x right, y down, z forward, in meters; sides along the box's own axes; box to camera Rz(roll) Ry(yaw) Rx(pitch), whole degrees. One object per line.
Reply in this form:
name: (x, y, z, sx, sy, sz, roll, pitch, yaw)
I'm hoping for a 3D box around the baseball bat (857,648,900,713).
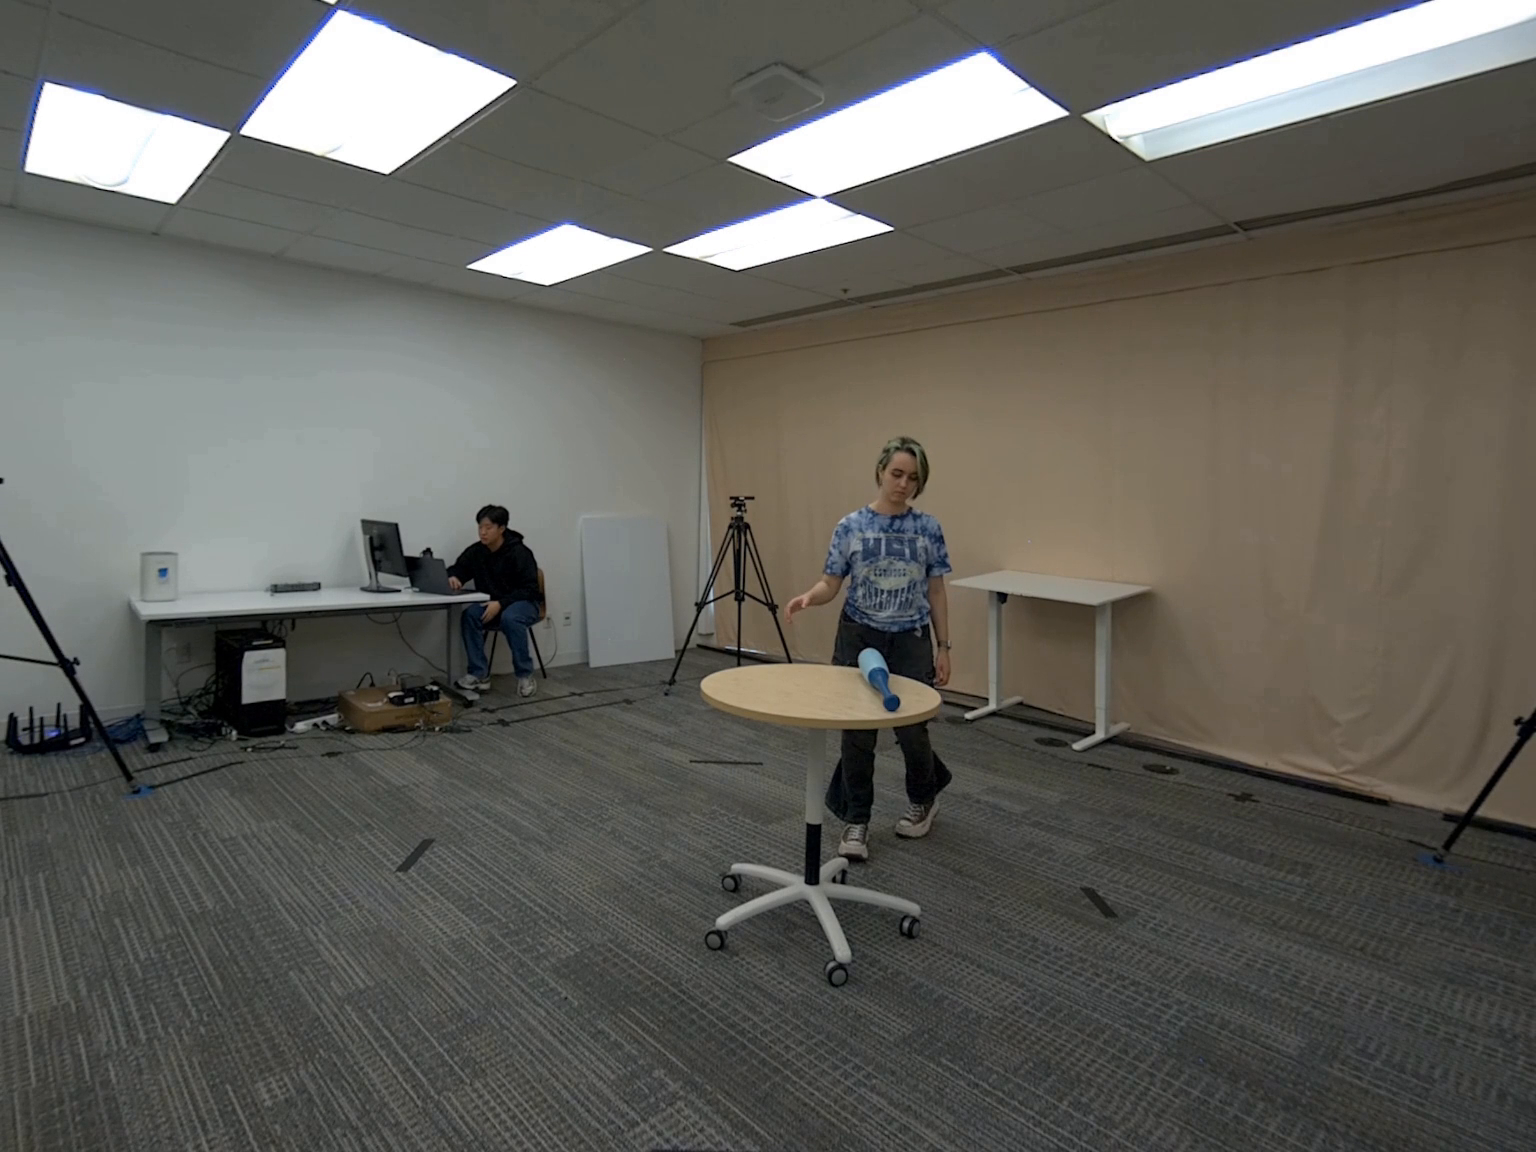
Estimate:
baseball bat: (0.356, 0.336, 2.691, 0.089, 0.088, 0.546, 1, 7, -2)
